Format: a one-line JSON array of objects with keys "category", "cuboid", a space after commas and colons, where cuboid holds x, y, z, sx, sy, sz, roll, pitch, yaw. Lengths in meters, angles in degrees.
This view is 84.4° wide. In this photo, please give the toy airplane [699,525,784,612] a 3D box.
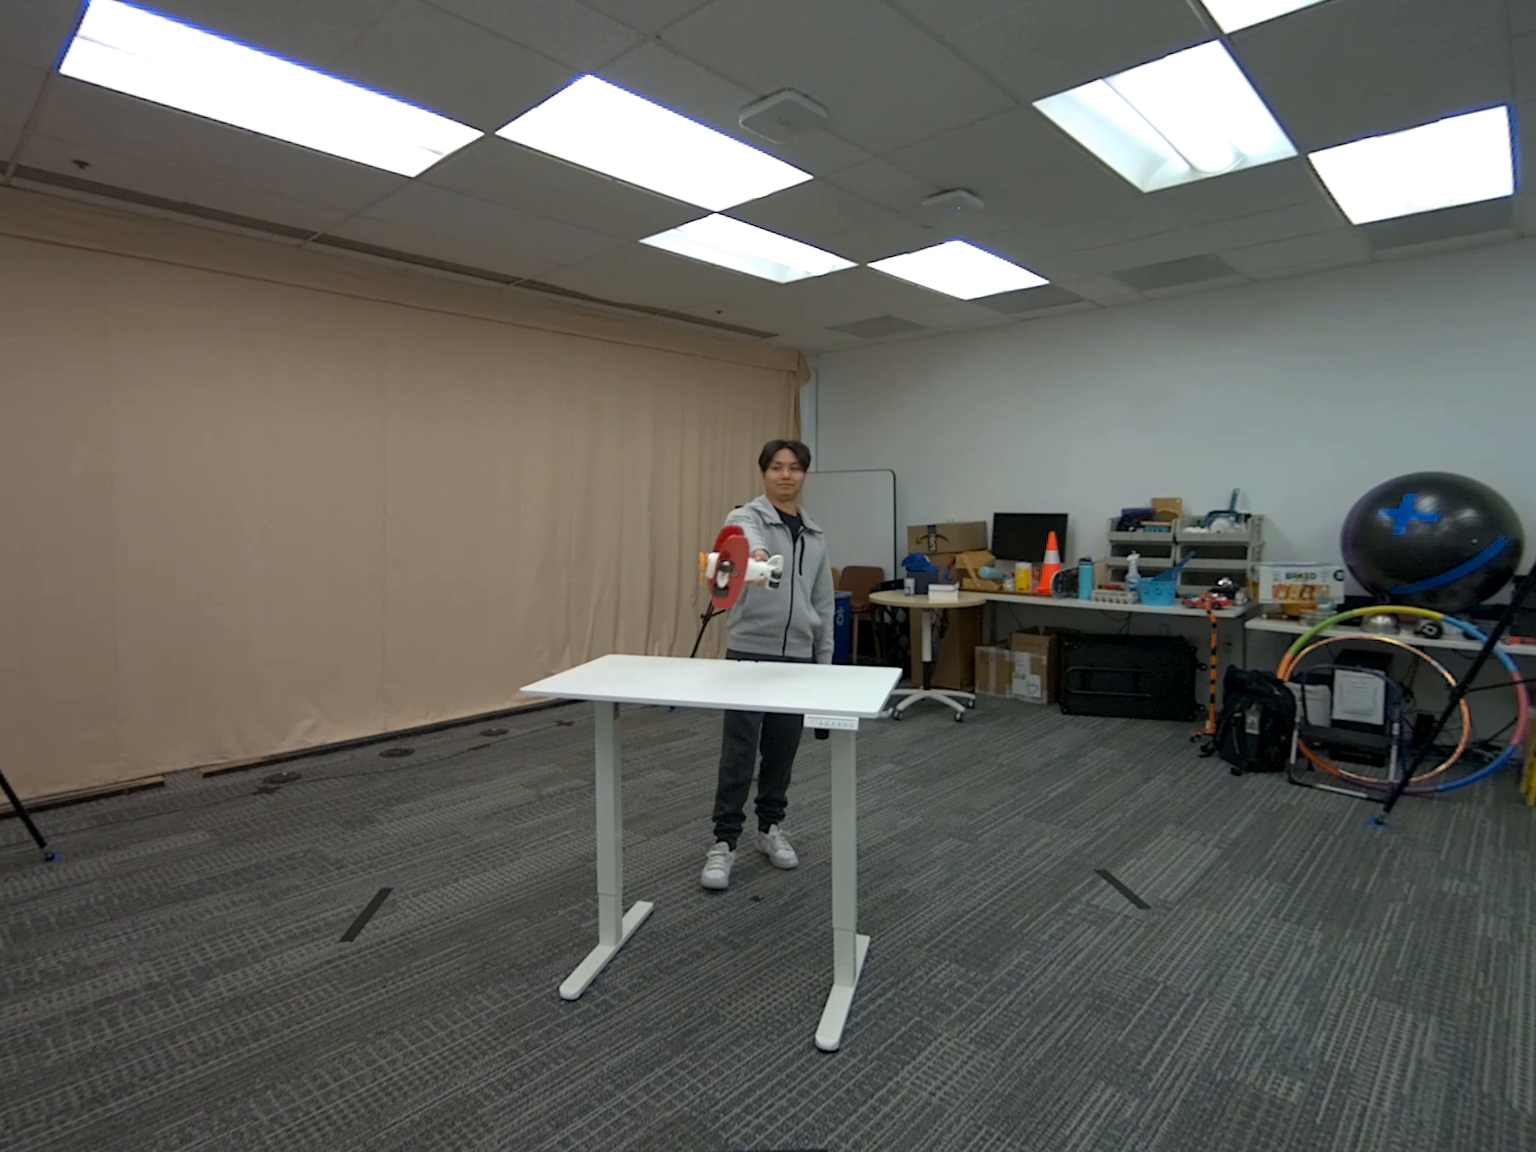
[{"category": "toy airplane", "cuboid": [-0.084, -0.005, 2.655, 0.250, 0.251, 0.161, 30, 10, -34]}]
